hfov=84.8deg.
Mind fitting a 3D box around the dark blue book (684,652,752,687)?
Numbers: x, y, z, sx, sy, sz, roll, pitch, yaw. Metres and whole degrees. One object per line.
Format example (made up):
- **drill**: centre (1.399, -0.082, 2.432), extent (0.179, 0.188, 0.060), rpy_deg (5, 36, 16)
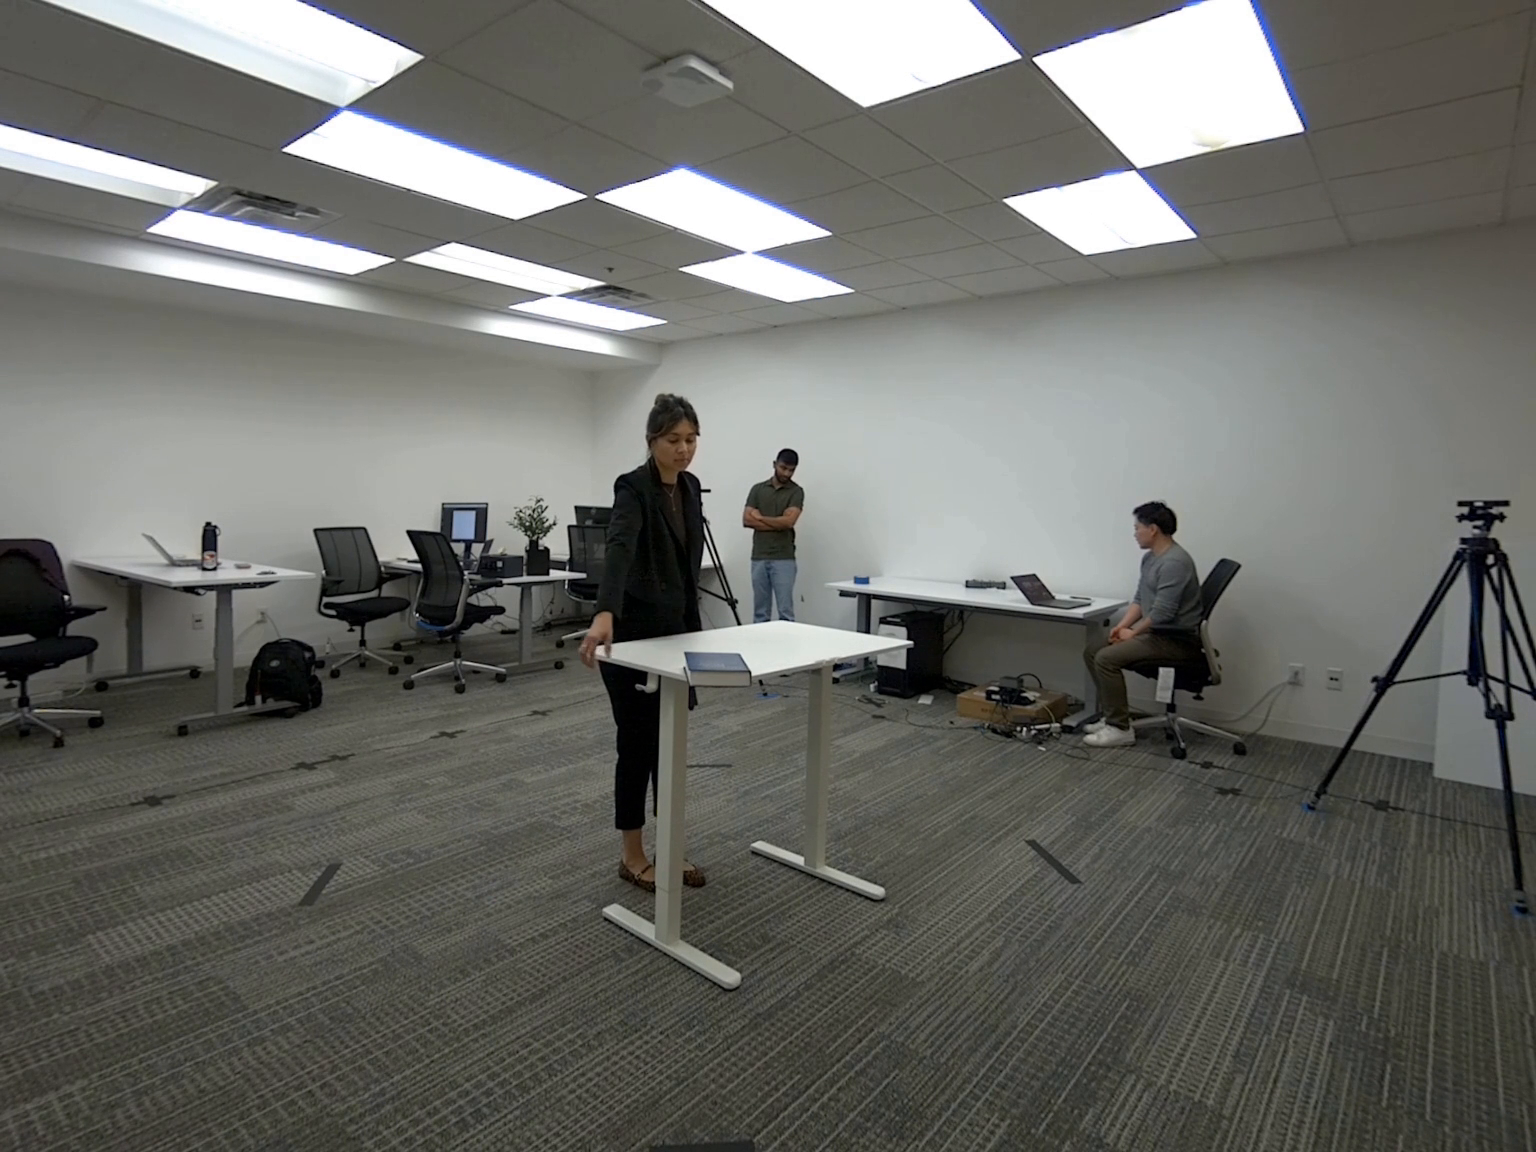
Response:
- **dark blue book**: centre (-0.151, 0.247, 2.301), extent (0.162, 0.045, 0.247), rpy_deg (1, 5, -7)
